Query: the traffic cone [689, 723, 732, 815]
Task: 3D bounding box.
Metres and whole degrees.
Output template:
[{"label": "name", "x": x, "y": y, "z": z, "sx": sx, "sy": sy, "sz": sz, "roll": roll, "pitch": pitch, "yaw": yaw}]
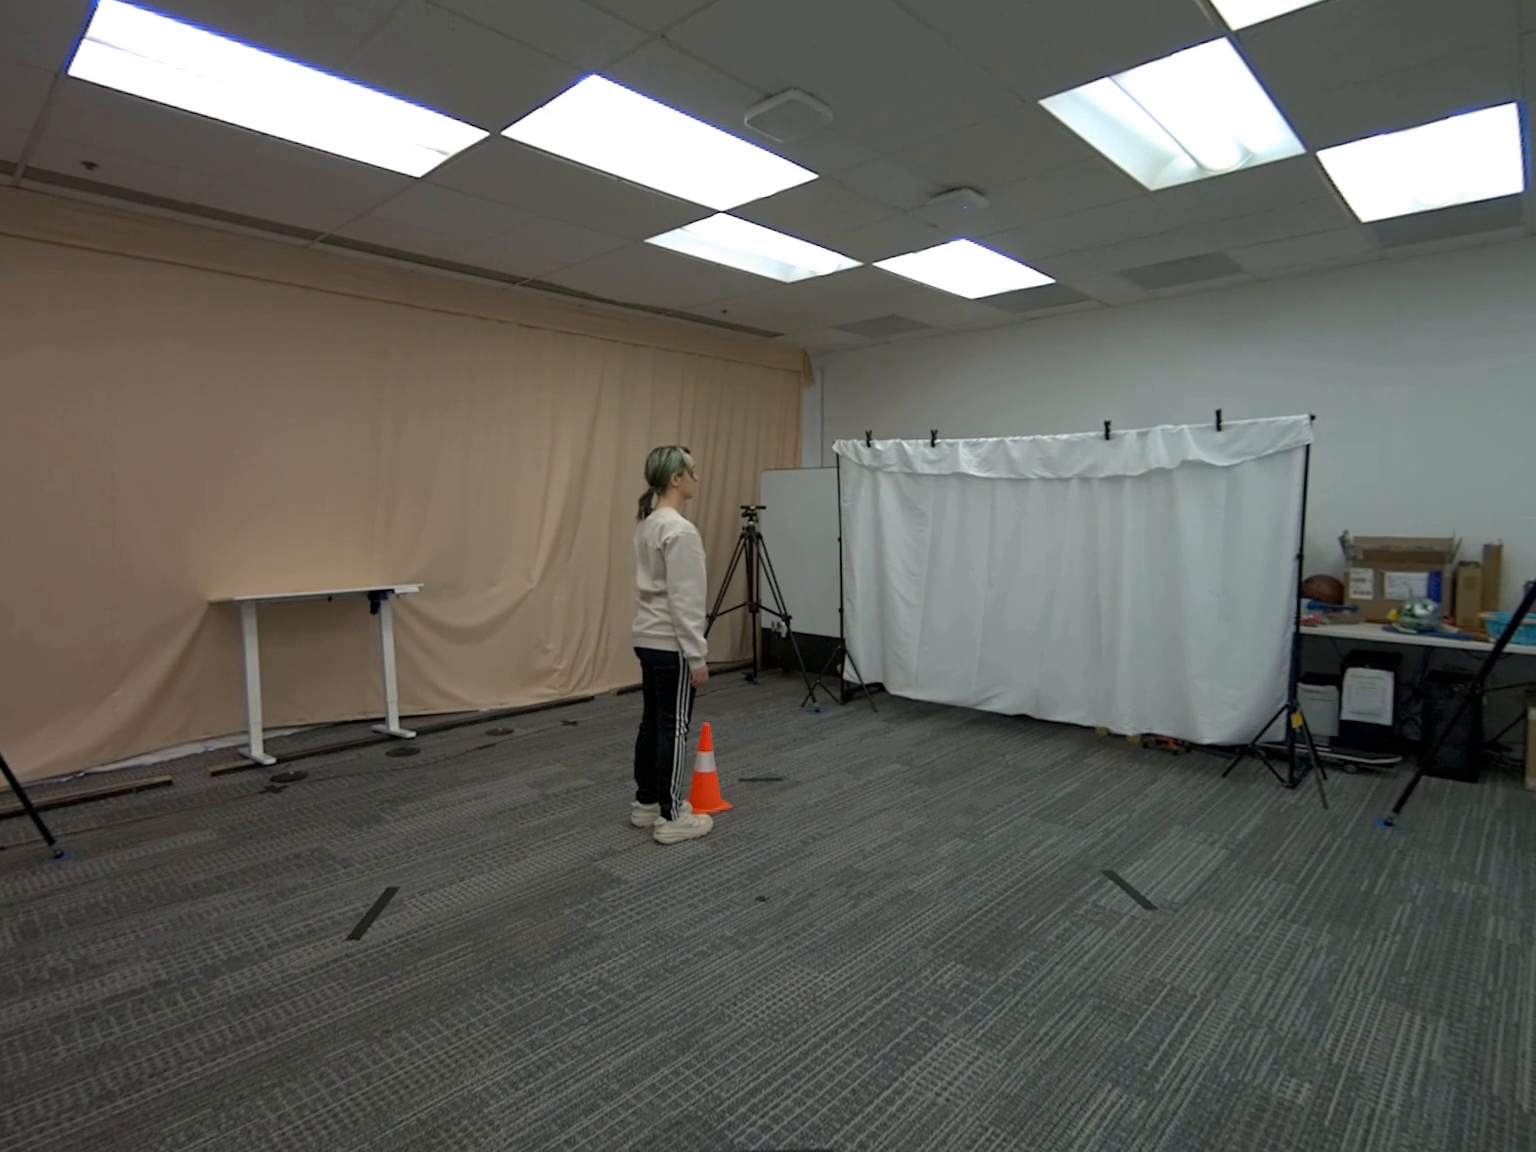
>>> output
[{"label": "traffic cone", "x": -0.296, "y": 0.882, "z": 3.928, "sx": 0.199, "sy": 0.383, "sz": 0.210, "roll": -2, "pitch": 4, "yaw": -22}]
